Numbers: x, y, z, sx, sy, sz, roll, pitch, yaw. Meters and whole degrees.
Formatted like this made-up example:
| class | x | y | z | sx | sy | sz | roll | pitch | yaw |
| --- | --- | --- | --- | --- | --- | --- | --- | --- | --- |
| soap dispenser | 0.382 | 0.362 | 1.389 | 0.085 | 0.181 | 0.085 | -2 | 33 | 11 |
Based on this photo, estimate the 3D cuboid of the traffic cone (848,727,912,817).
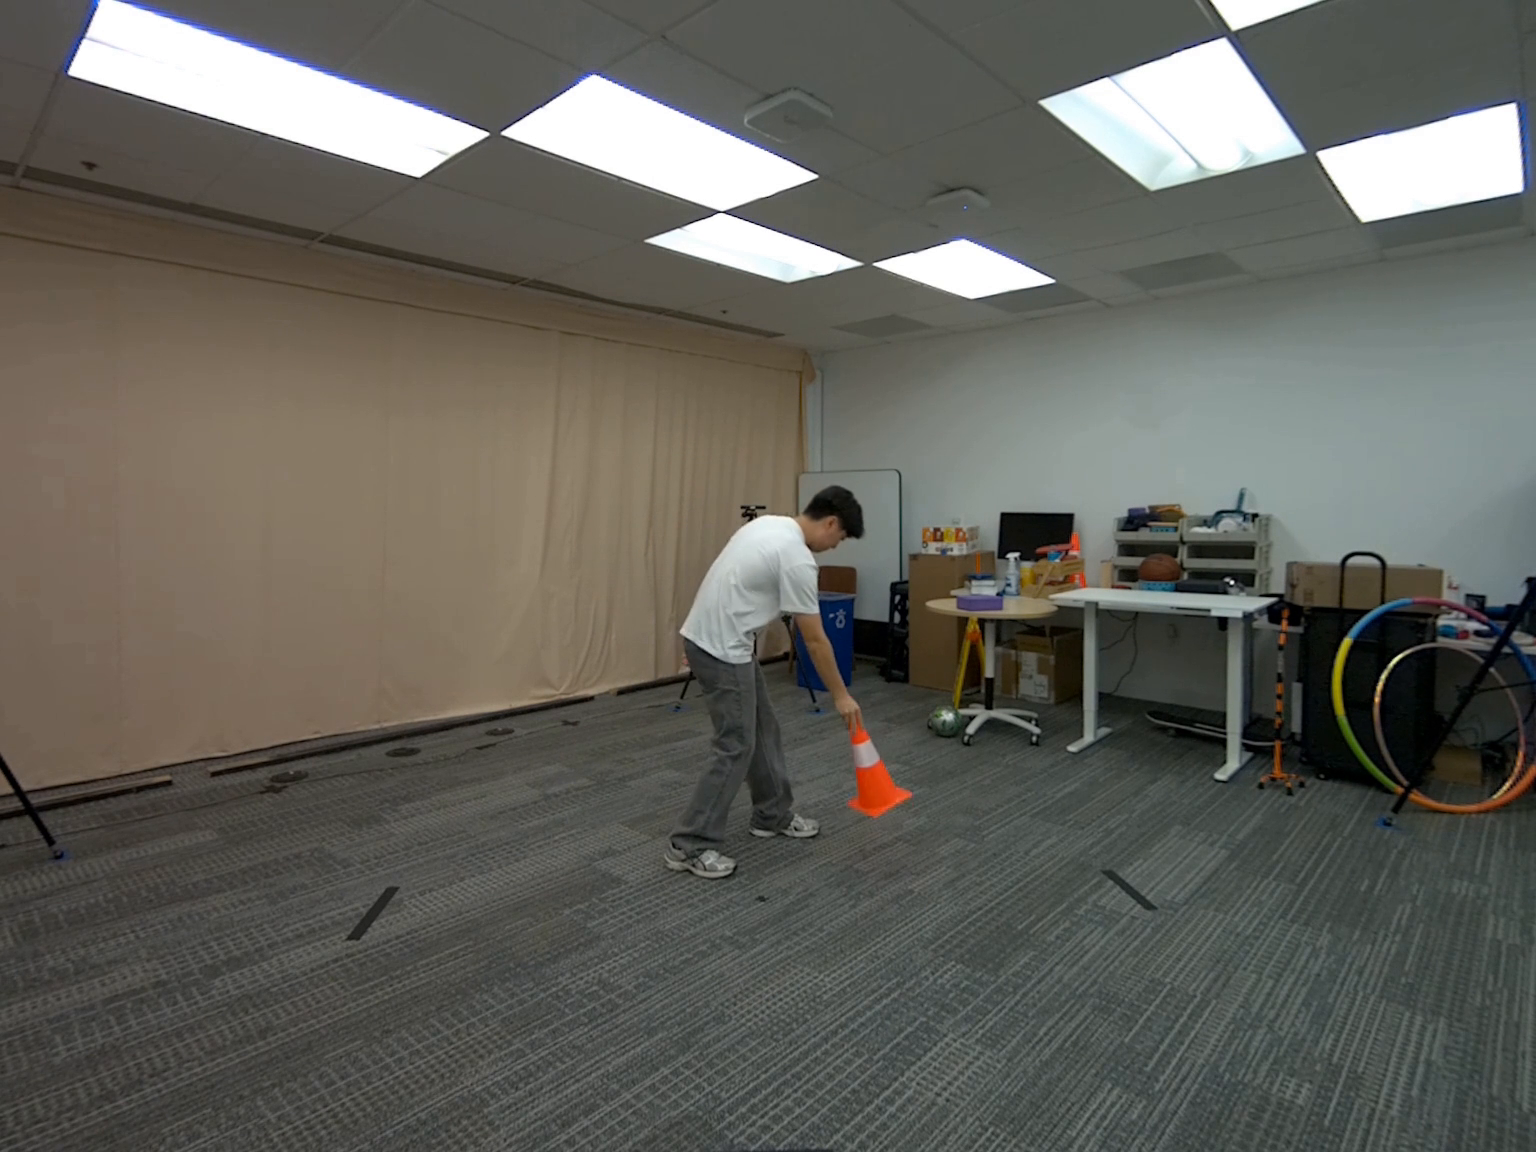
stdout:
| class | x | y | z | sx | sy | sz | roll | pitch | yaw |
| --- | --- | --- | --- | --- | --- | --- | --- | --- | --- |
| traffic cone | 0.393 | 0.702 | 3.323 | 0.208 | 0.381 | 0.201 | -15 | 9 | 40 |
